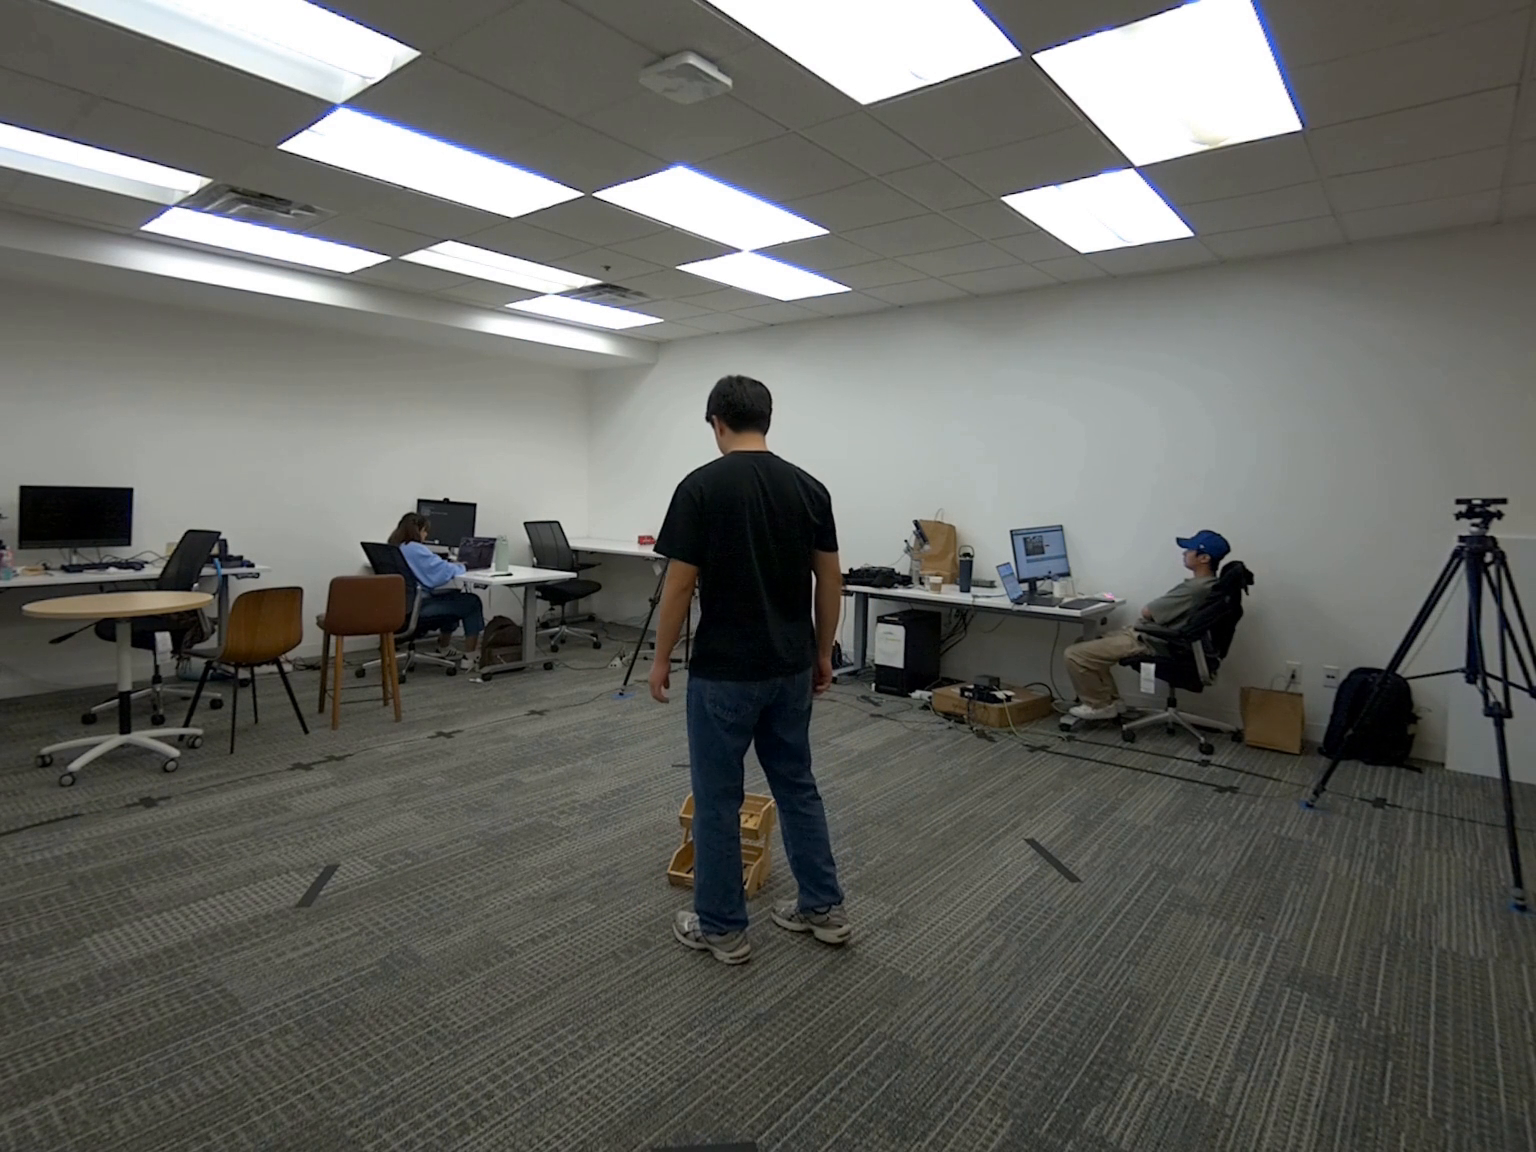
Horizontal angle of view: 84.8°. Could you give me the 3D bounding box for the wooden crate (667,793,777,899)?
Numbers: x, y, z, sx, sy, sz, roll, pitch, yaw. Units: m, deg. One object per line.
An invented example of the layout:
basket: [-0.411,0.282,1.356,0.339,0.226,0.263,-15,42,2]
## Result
wooden crate: [-0.169,0.942,3.045,0.332,0.272,0.296,2,4,21]
